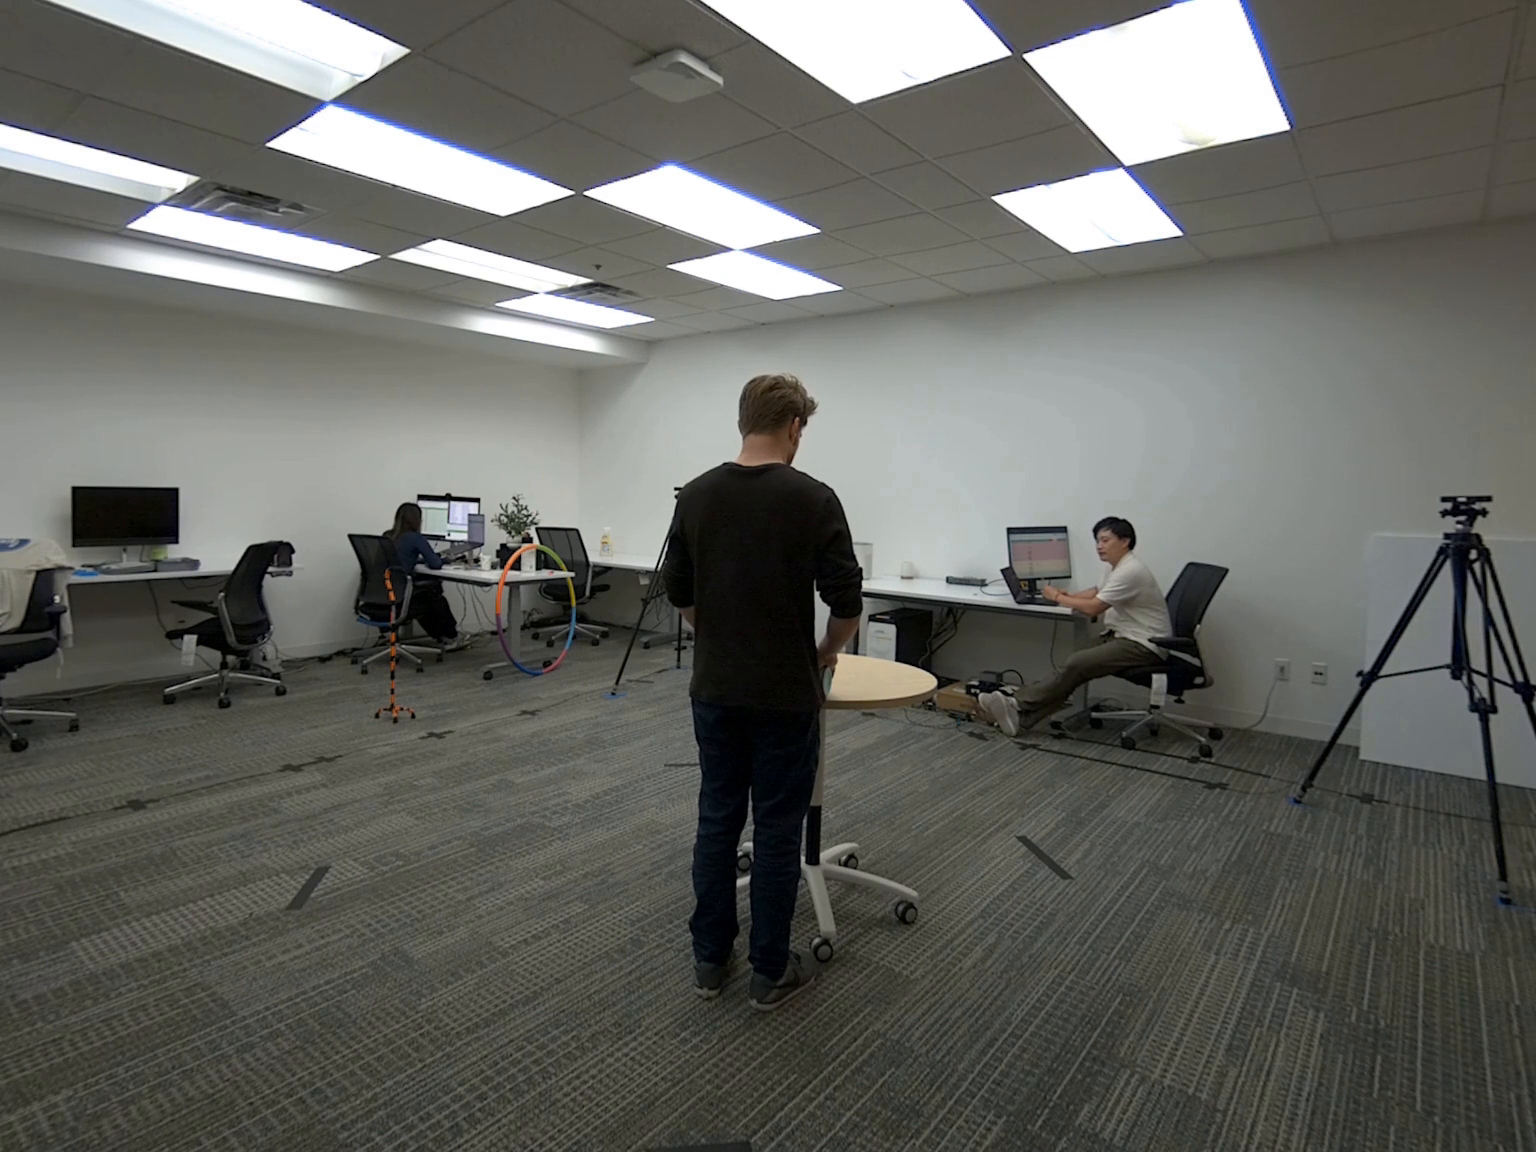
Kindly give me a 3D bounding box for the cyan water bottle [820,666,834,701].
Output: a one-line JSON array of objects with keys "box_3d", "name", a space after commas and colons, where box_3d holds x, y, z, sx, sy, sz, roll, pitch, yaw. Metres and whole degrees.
[{"box_3d": [0.036, 0.298, 2.540, 0.290, 0.092, 0.090, 3, 5, 23], "name": "cyan water bottle"}]
